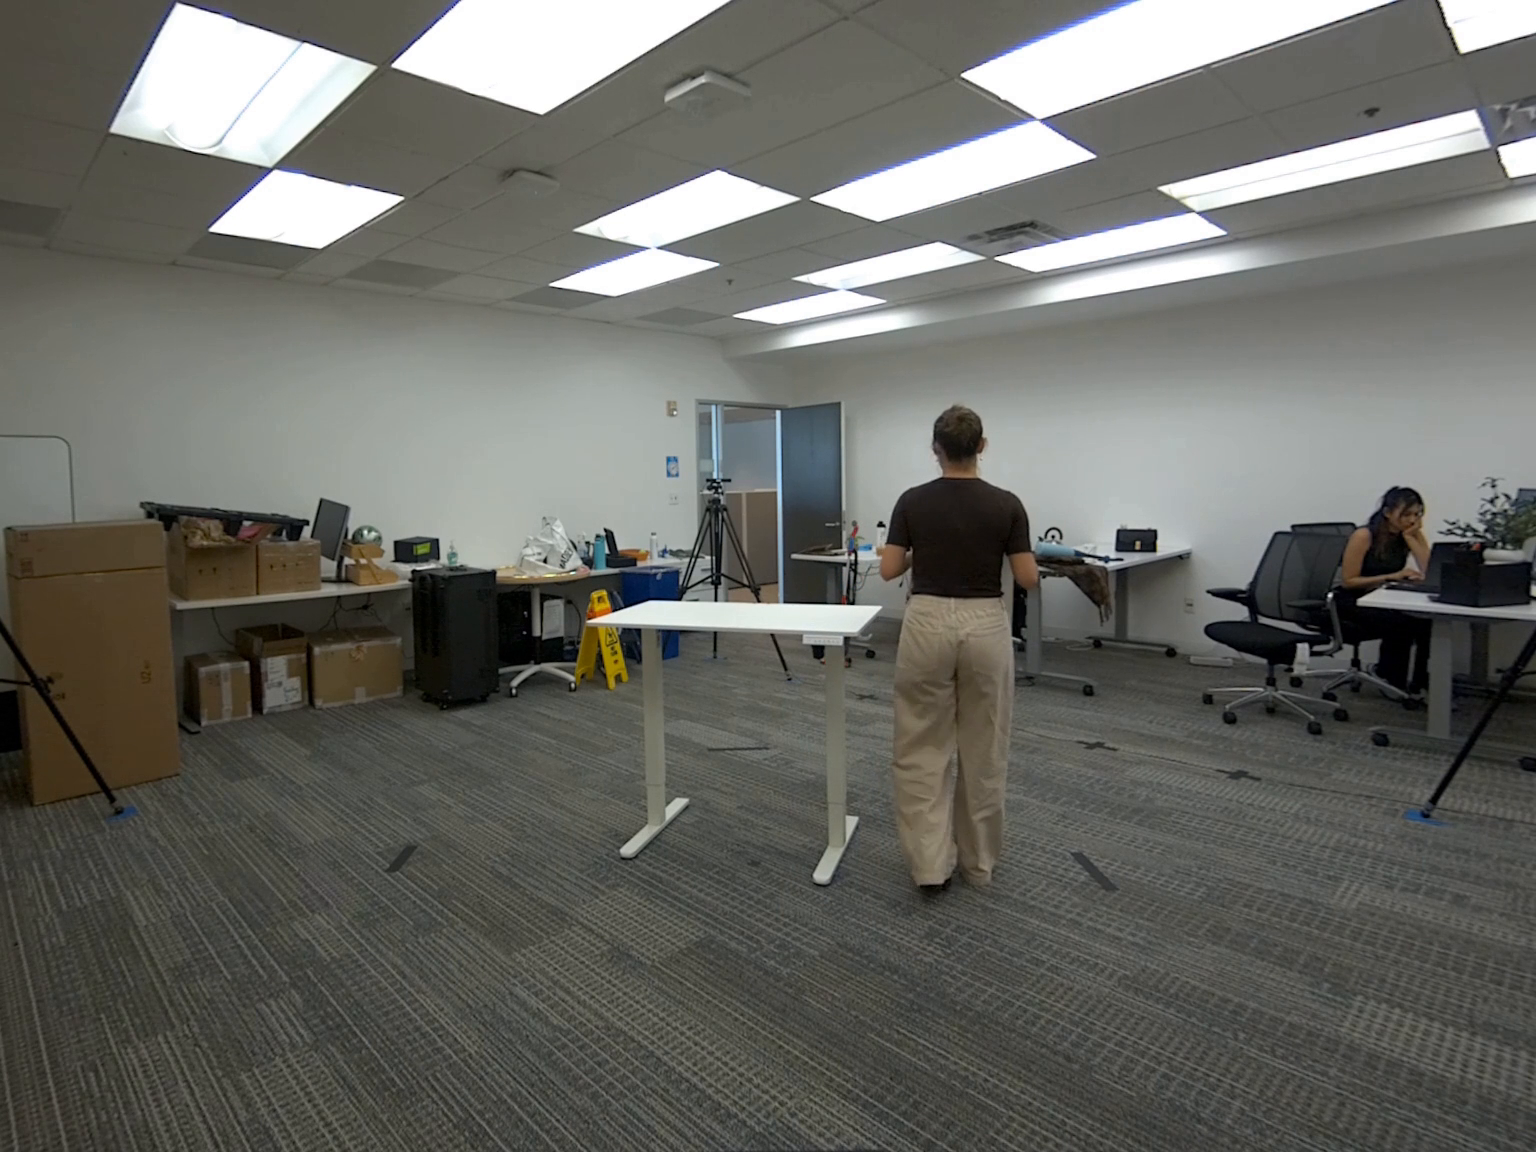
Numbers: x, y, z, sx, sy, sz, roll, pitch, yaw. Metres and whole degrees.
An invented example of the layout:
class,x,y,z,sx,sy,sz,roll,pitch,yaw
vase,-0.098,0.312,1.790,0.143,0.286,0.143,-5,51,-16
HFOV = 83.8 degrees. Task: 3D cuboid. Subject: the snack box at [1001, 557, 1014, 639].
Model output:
class,x,y,z,sx,sy,sz,roll,pitch,yaw
snack box,0.752,0.082,3.216,0.346,0.403,0.203,2,6,15
